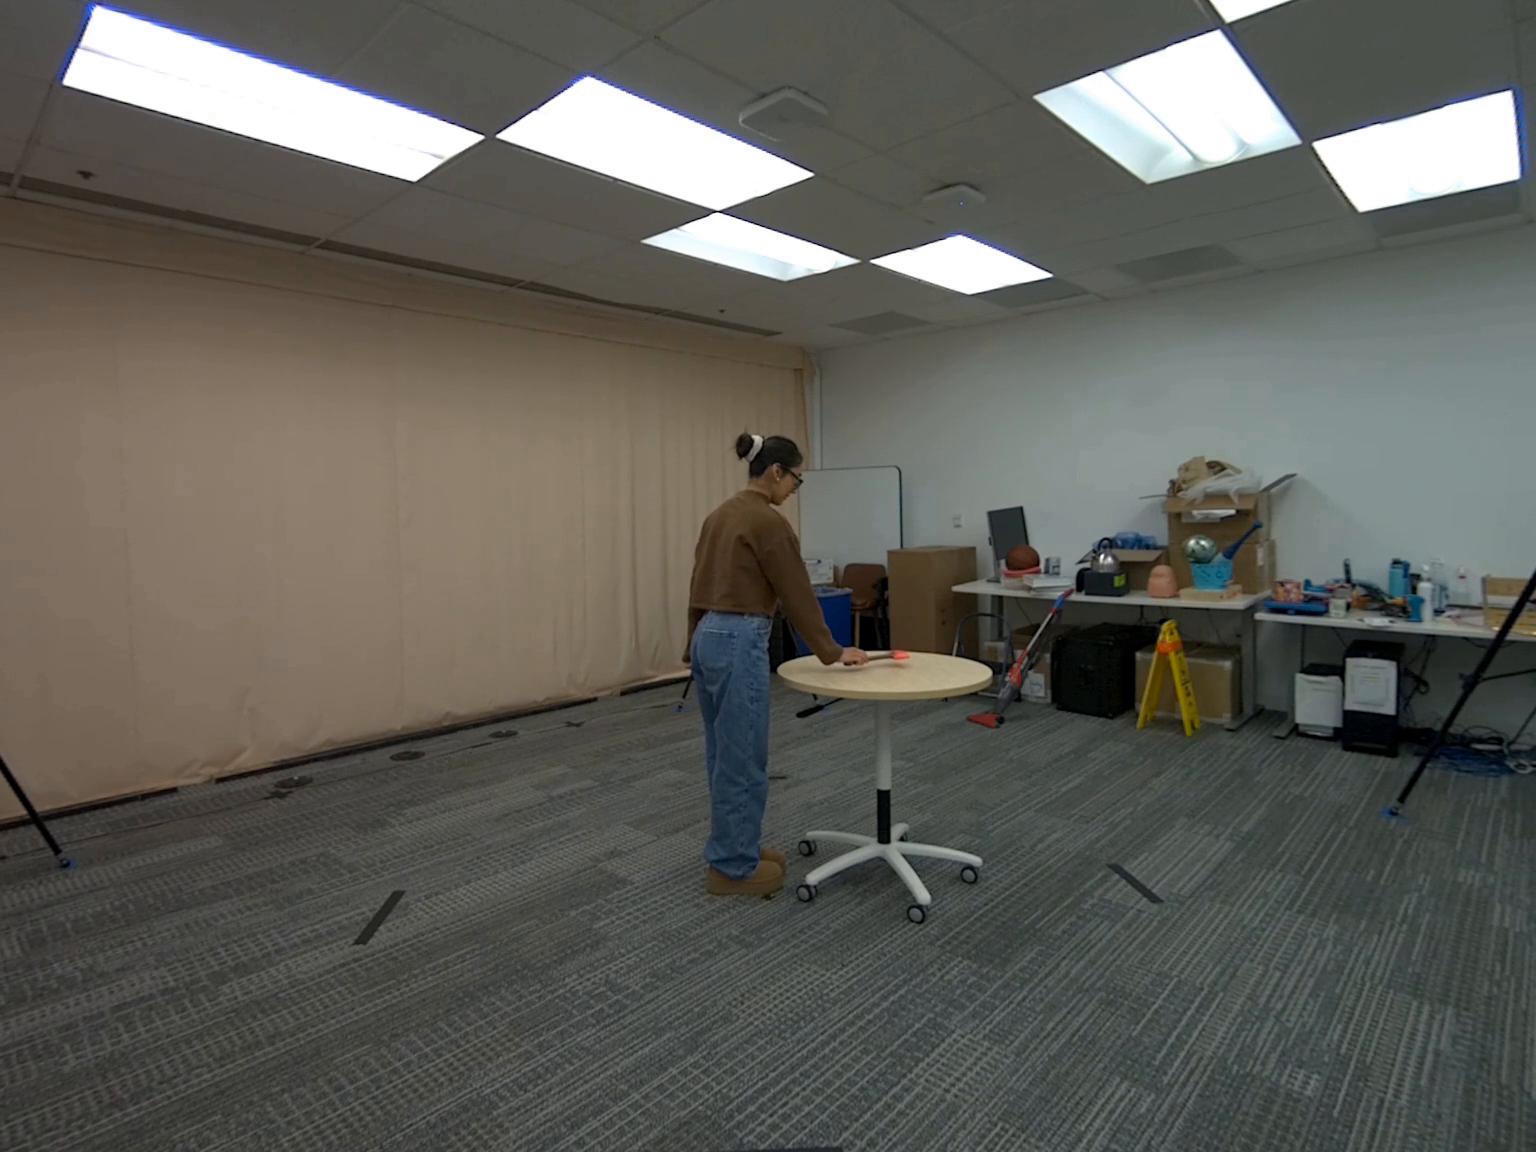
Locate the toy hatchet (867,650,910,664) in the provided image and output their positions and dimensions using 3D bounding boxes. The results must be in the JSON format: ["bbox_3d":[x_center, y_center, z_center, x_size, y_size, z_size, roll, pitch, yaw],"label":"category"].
[{"bbox_3d":[0.391,0.309,3.102,0.267,0.029,0.132,-4,4,-9],"label":"toy hatchet"}]
